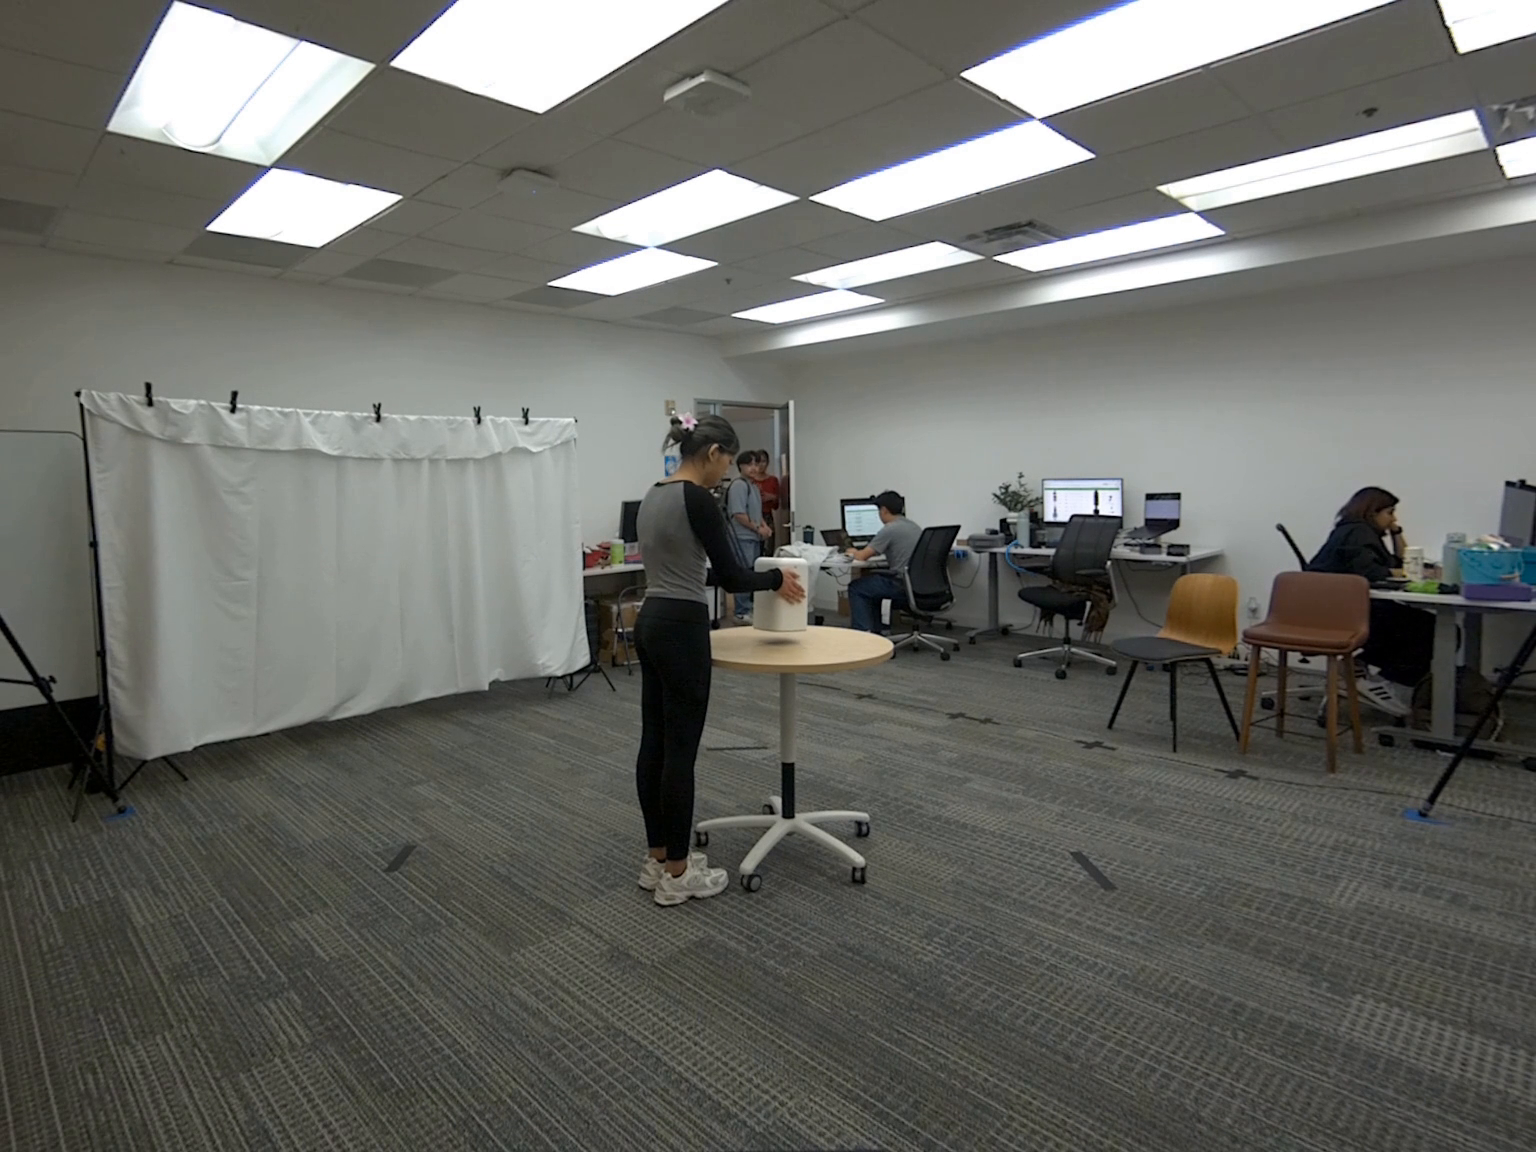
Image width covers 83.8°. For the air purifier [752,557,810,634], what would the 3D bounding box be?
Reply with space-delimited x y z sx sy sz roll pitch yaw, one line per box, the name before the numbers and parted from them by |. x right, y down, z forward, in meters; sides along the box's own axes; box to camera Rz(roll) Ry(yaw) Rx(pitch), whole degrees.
air purifier | 0.050 0.066 3.149 0.166 0.266 0.176 1 -1 -41
